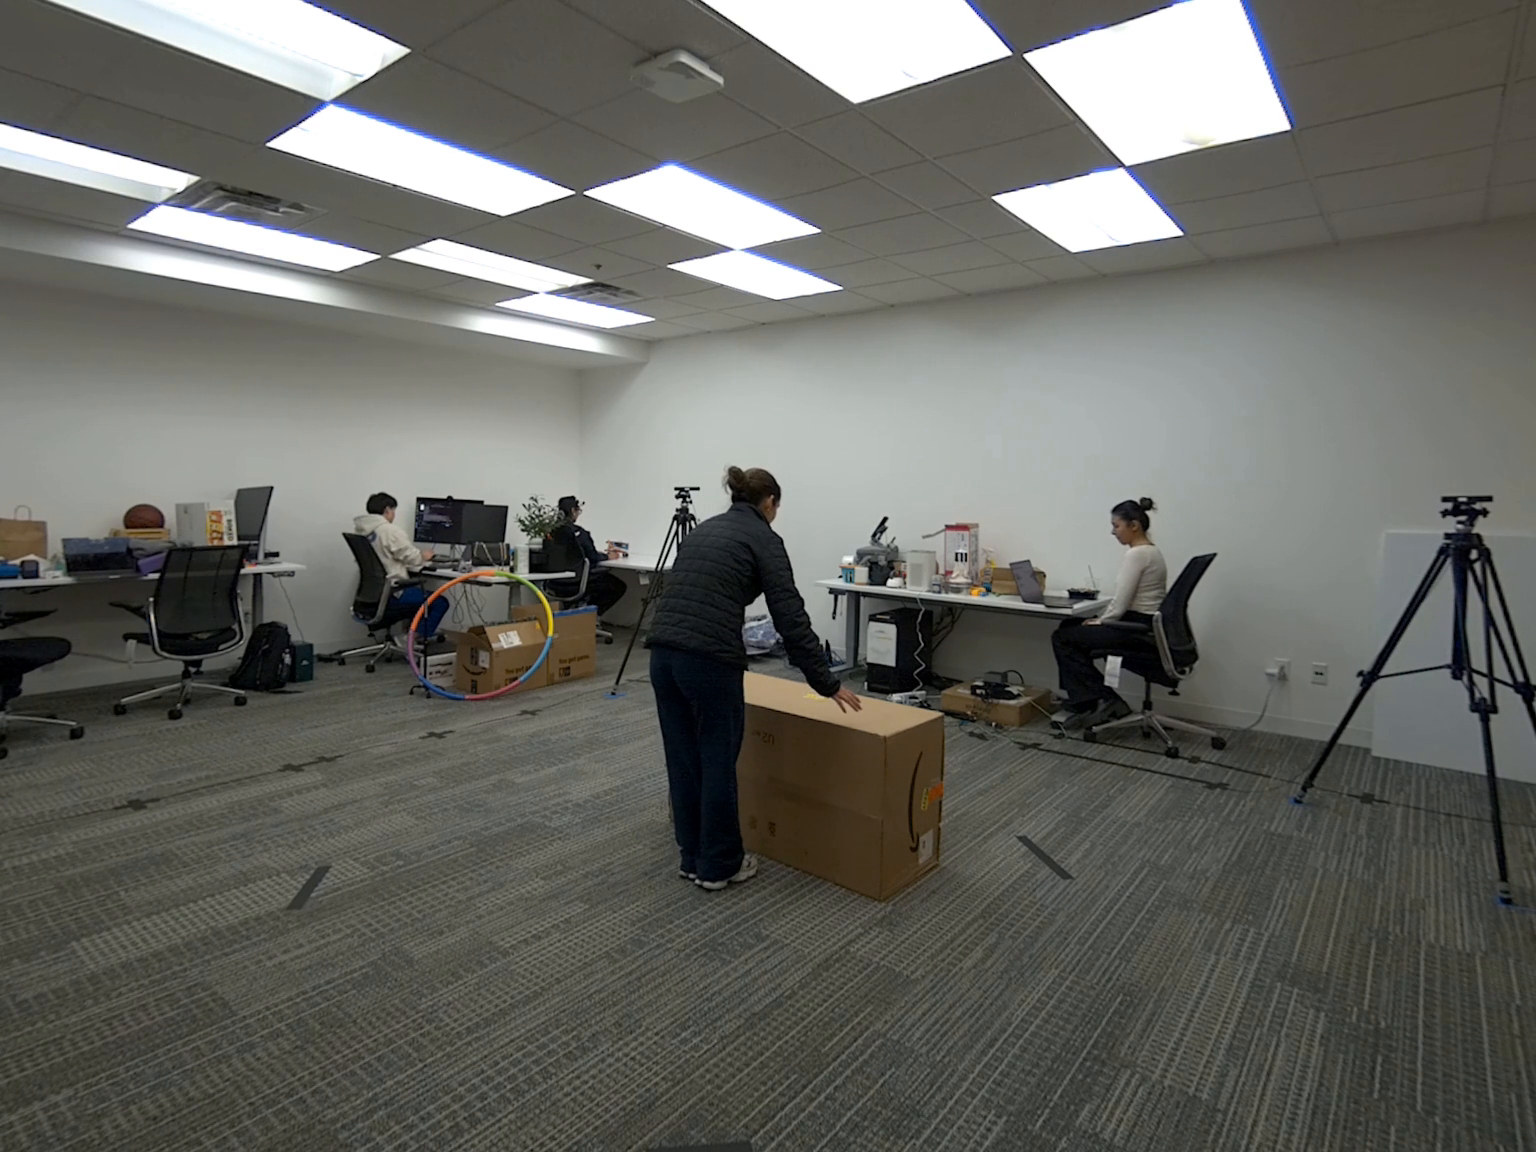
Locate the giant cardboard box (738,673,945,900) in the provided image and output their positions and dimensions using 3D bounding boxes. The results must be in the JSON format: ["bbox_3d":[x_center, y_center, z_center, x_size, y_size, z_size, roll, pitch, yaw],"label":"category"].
[{"bbox_3d":[0.144,0.763,3.365,1.062,0.582,0.433,6,5,40],"label":"giant cardboard box"}]
